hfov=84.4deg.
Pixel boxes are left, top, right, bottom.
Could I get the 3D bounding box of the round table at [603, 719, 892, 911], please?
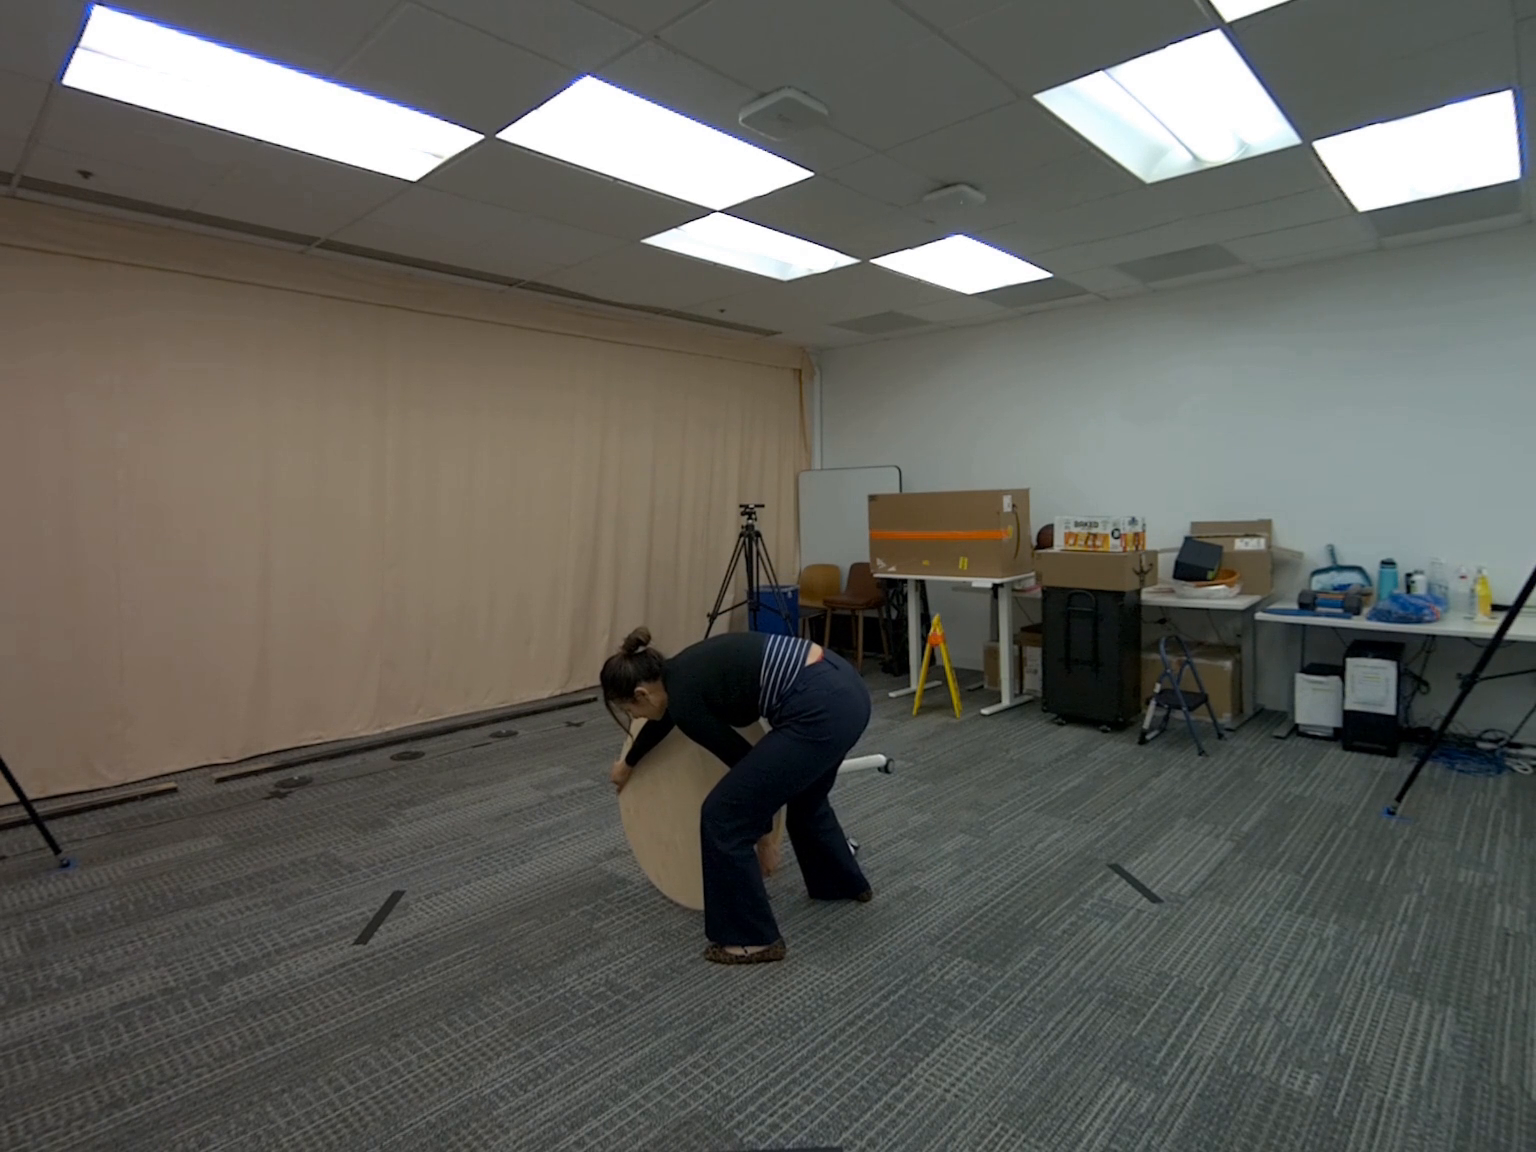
[{"bbox_3d":[-0.011,0.783,3.193,0.789,0.765,0.767,2,-4,40],"label":"round table"}]
